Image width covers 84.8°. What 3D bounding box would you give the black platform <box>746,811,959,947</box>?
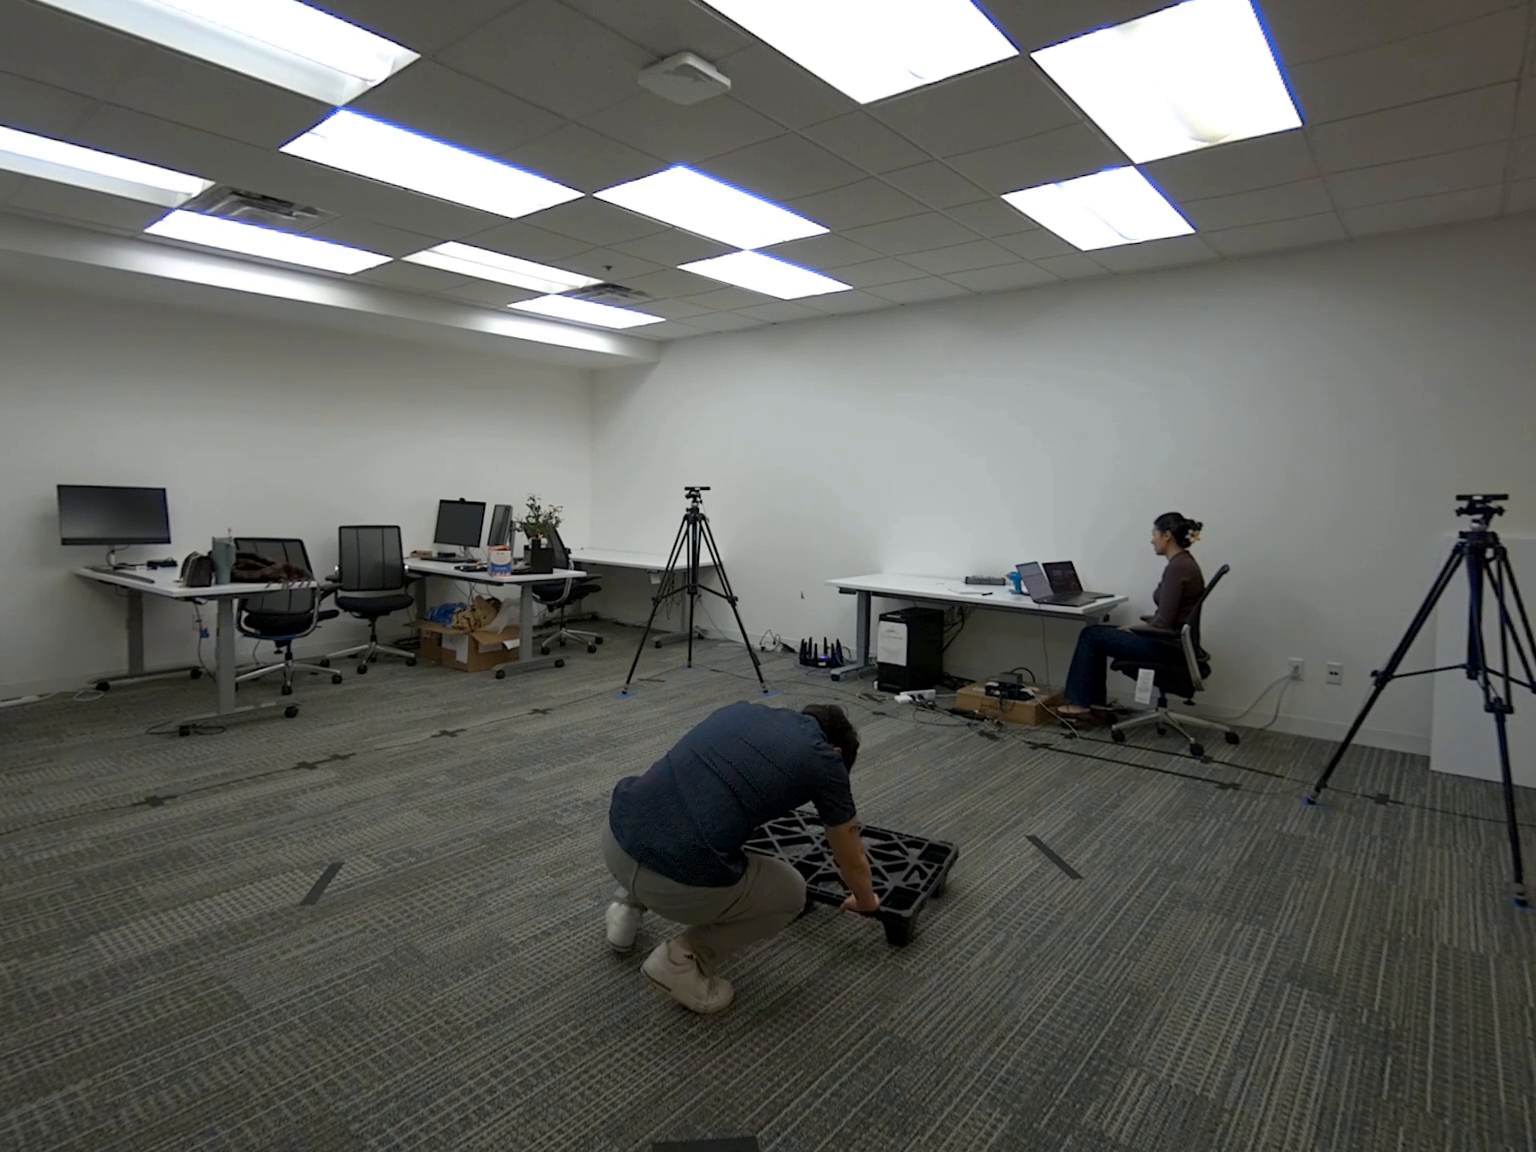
[{"bbox_3d":[0.187,1.017,2.980,0.829,0.143,0.590,4,6,28],"label":"black platform"}]
